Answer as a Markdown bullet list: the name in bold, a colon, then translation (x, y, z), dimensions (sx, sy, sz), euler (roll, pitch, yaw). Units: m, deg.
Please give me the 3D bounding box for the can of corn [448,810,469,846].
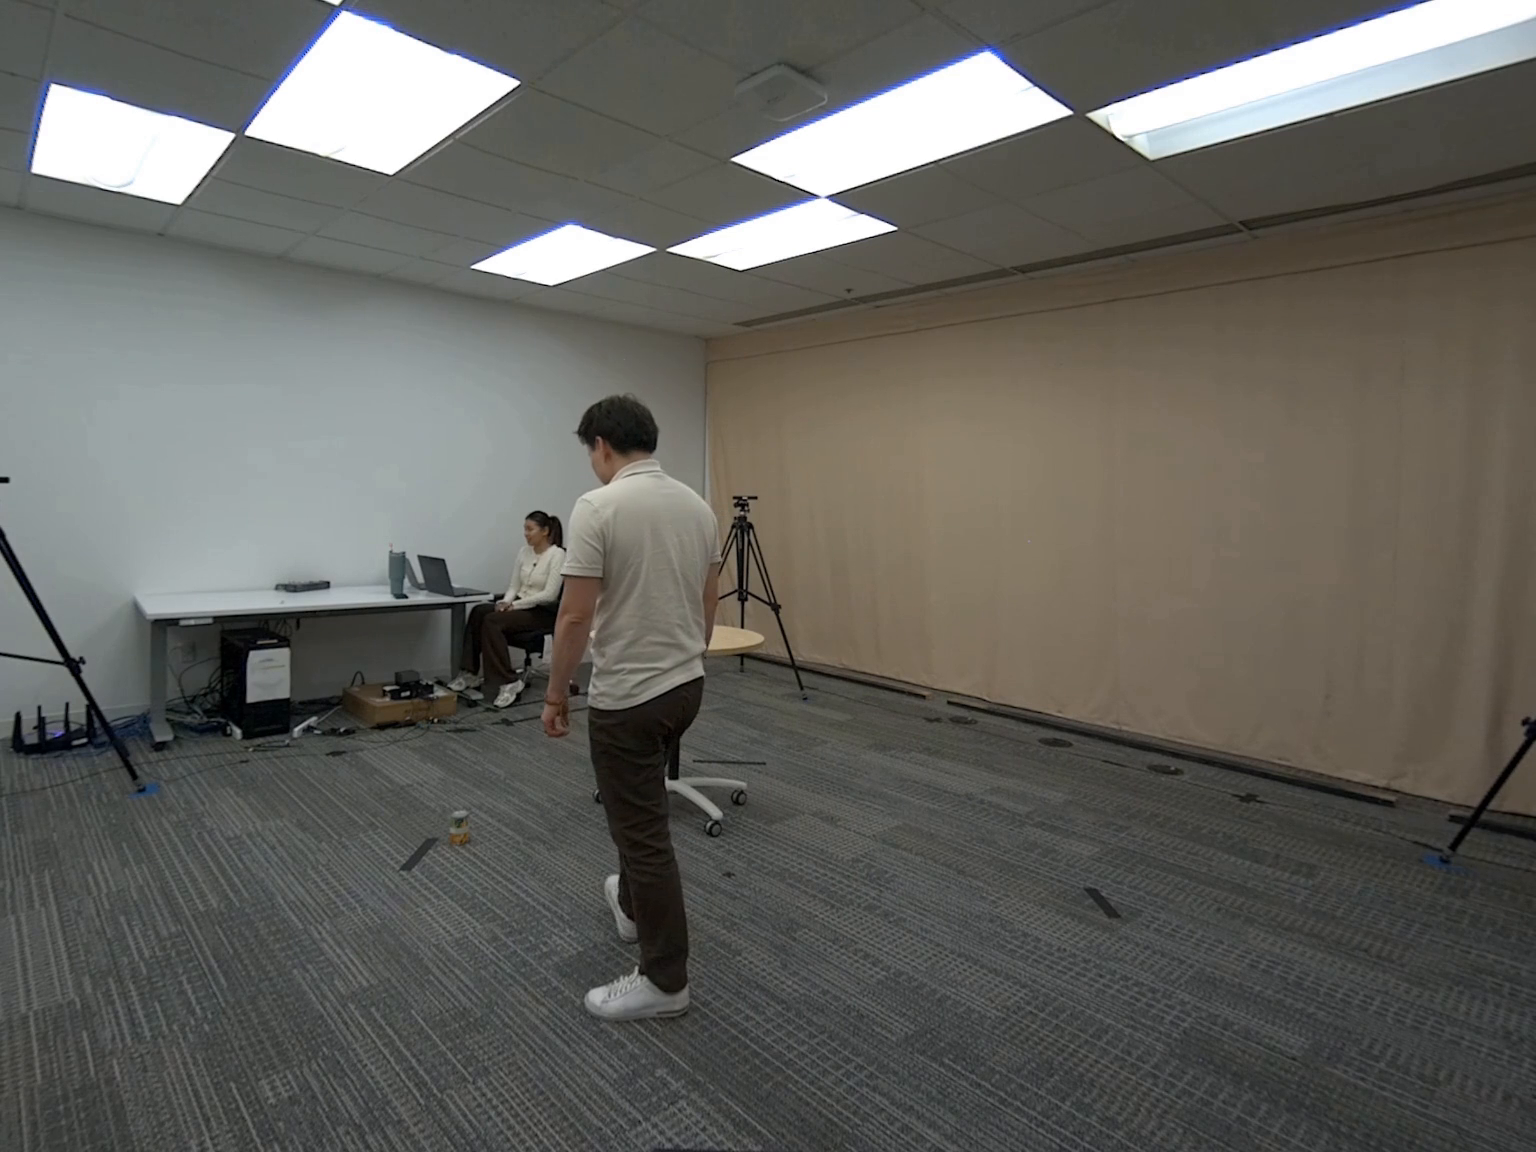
- **can of corn**: translation (-1.233, 1.003, 3.343), dimensions (0.074, 0.111, 0.074), euler (-1, 5, -1)
